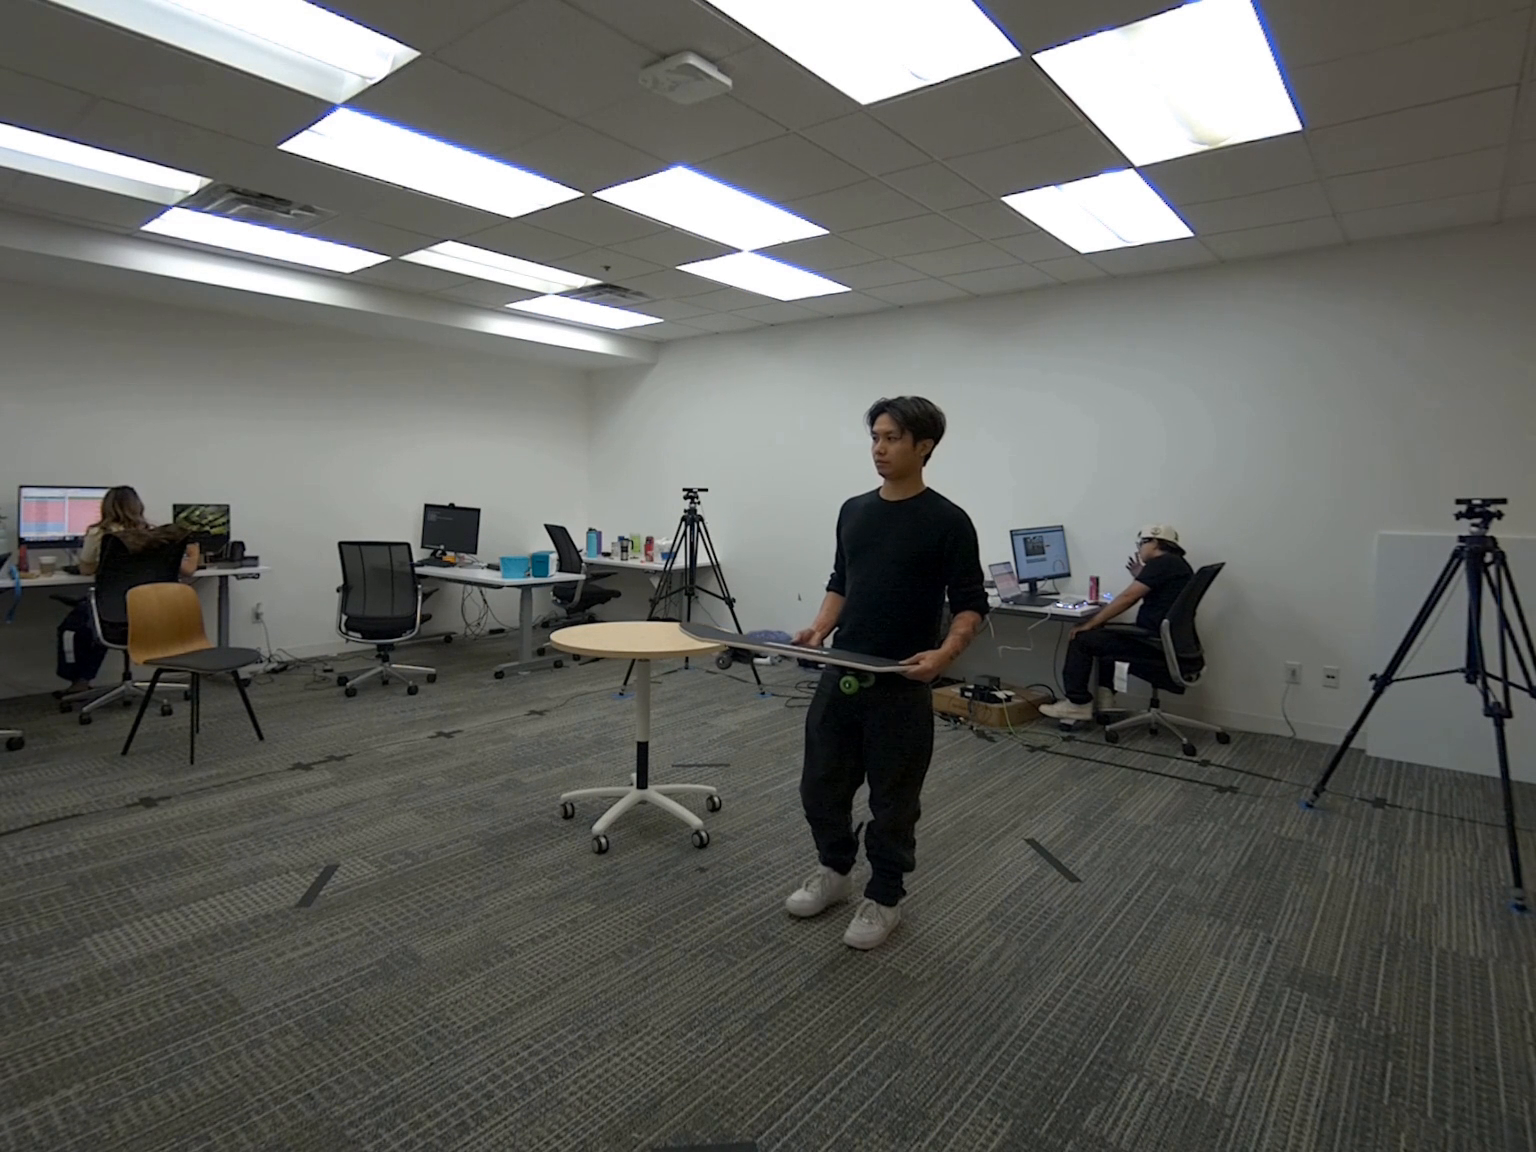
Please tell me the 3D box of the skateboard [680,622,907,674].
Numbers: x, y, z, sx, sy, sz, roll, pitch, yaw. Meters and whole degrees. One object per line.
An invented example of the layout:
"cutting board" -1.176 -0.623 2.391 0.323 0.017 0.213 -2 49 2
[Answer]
"skateboard" 0.083 0.251 2.517 0.807 0.110 0.188 7 2 26
